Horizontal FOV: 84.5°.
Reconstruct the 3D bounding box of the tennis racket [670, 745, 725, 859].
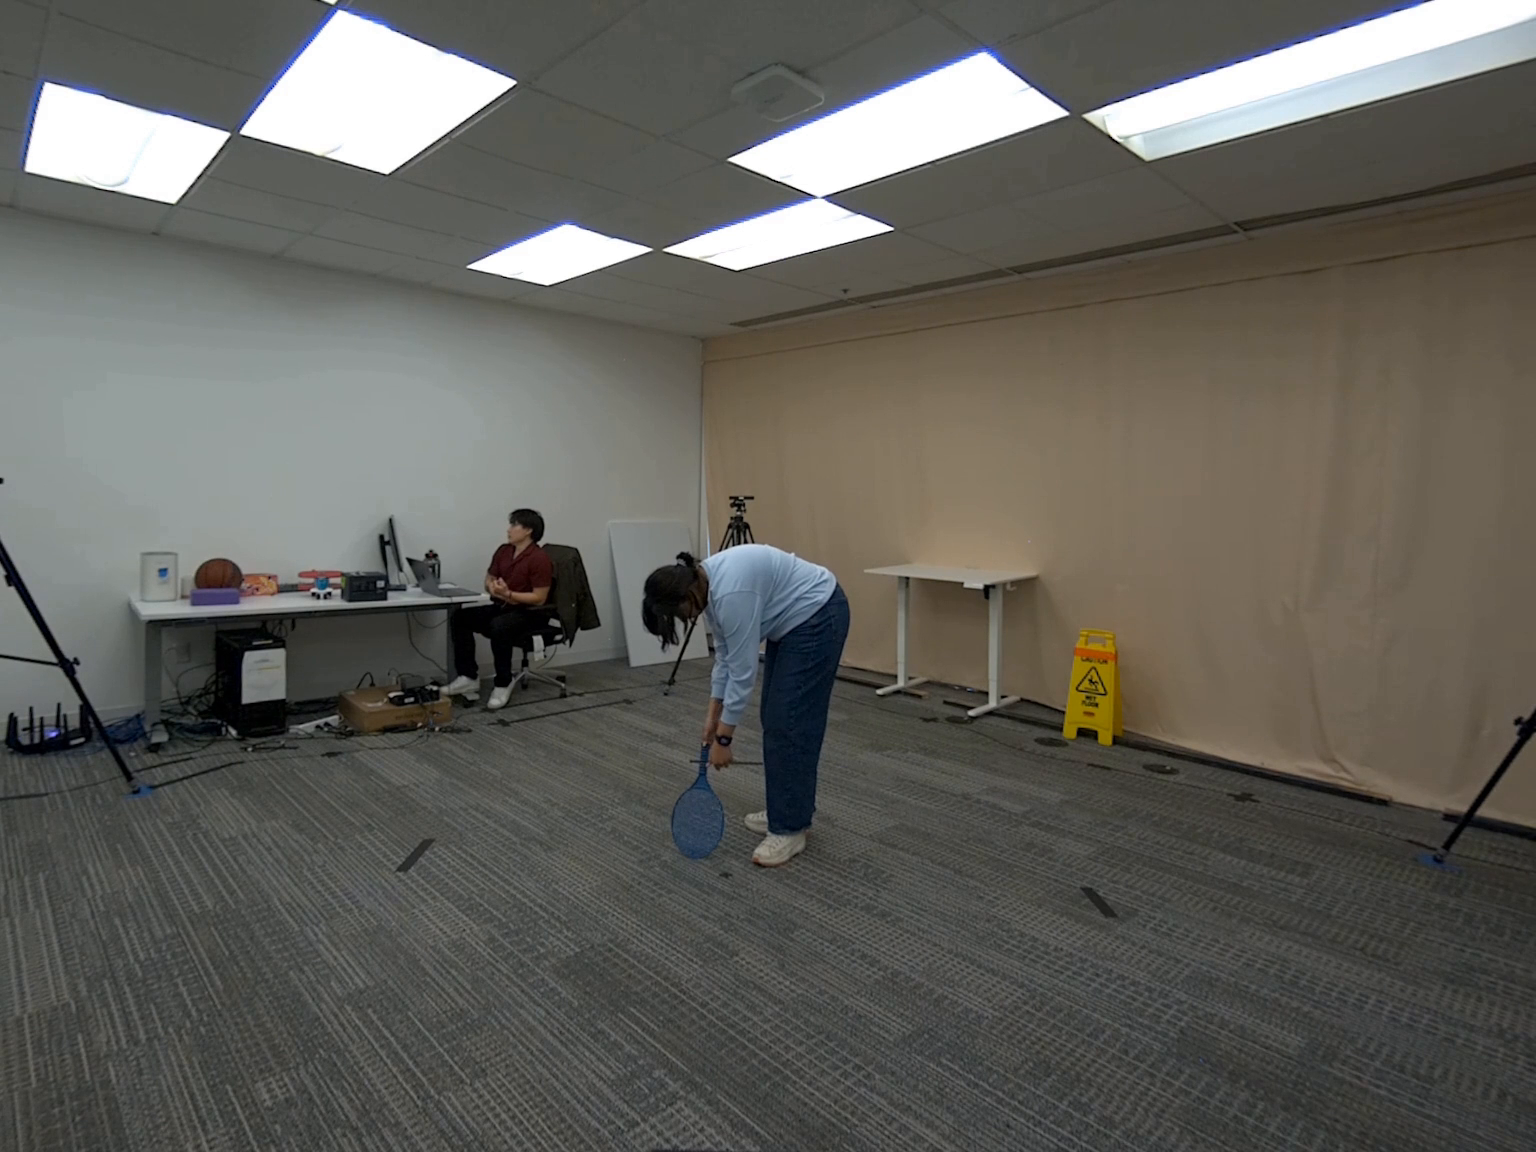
[{"bbox_3d":[-0.270,0.879,3.286,0.216,0.436,0.031,4,-12,14],"label":"tennis racket"}]
